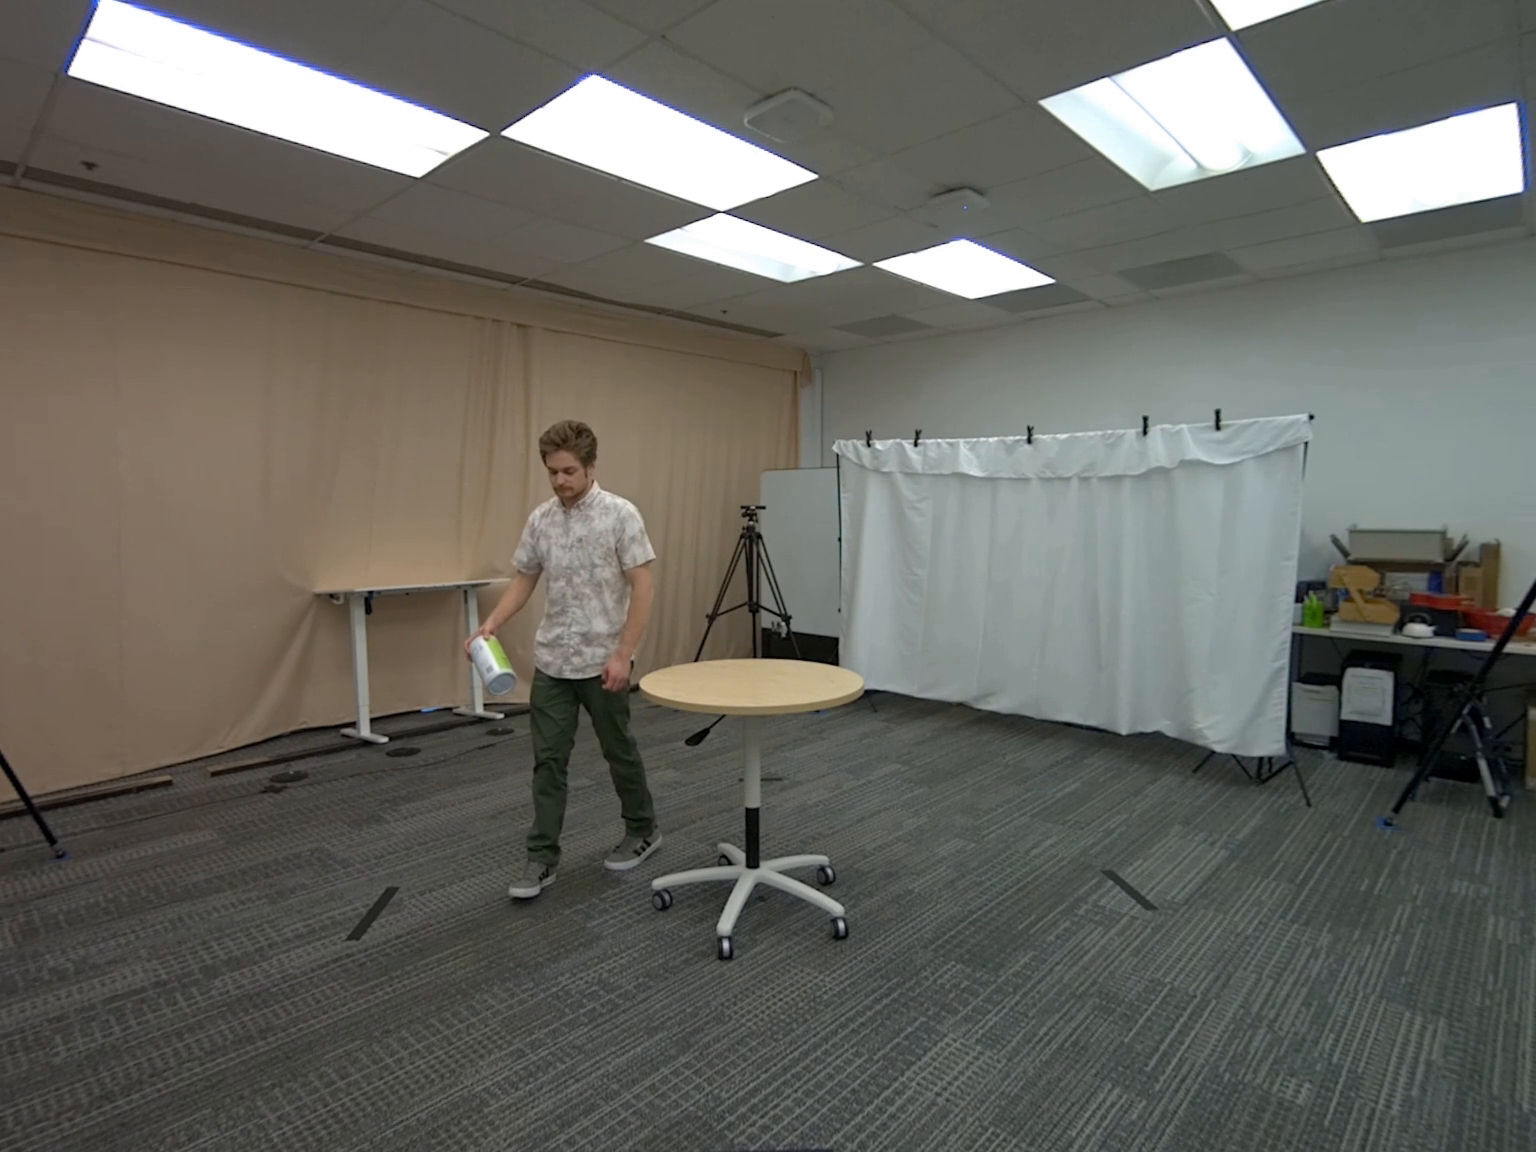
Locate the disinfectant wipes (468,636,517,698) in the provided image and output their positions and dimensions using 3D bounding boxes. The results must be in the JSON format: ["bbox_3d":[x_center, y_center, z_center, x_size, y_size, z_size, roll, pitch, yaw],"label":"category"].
[{"bbox_3d":[-0.957,0.302,2.938,0.114,0.117,0.225,-2,37,-31],"label":"disinfectant wipes"}]
